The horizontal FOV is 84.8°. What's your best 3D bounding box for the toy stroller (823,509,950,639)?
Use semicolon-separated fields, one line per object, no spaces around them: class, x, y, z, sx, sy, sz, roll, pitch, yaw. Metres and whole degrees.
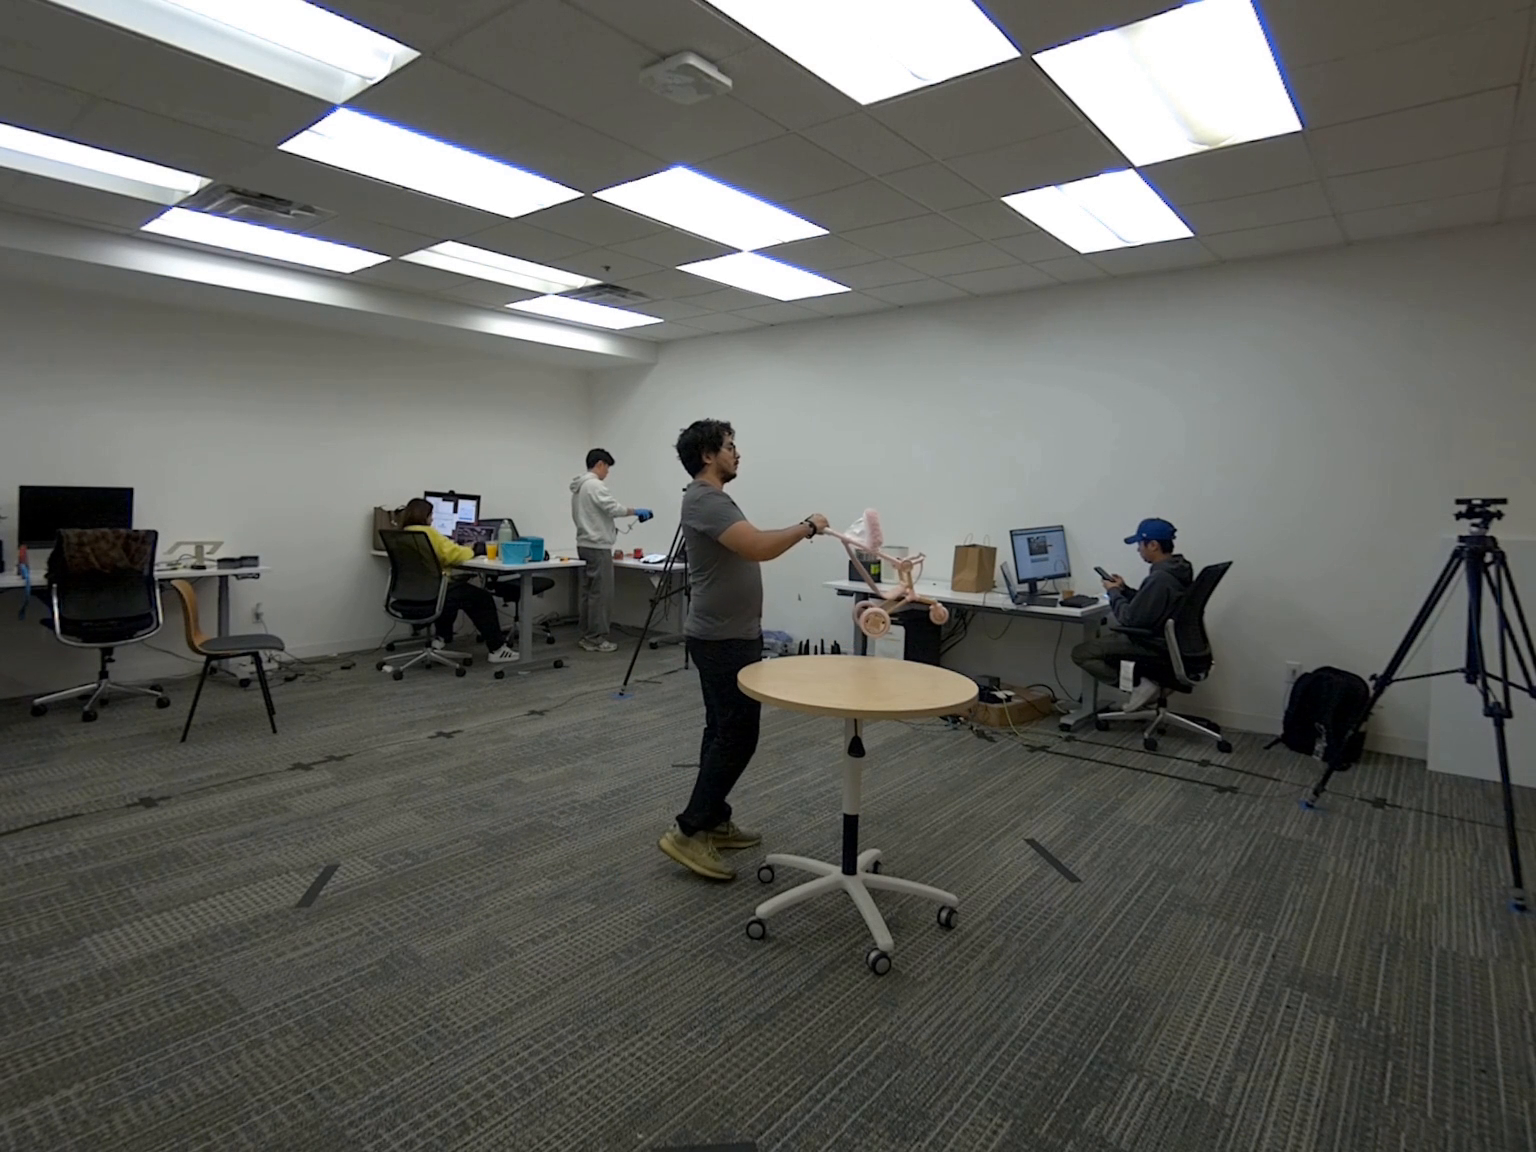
toy stroller;0.425;-0.019;3.195;0.343;0.535;0.280;-22;0;8
